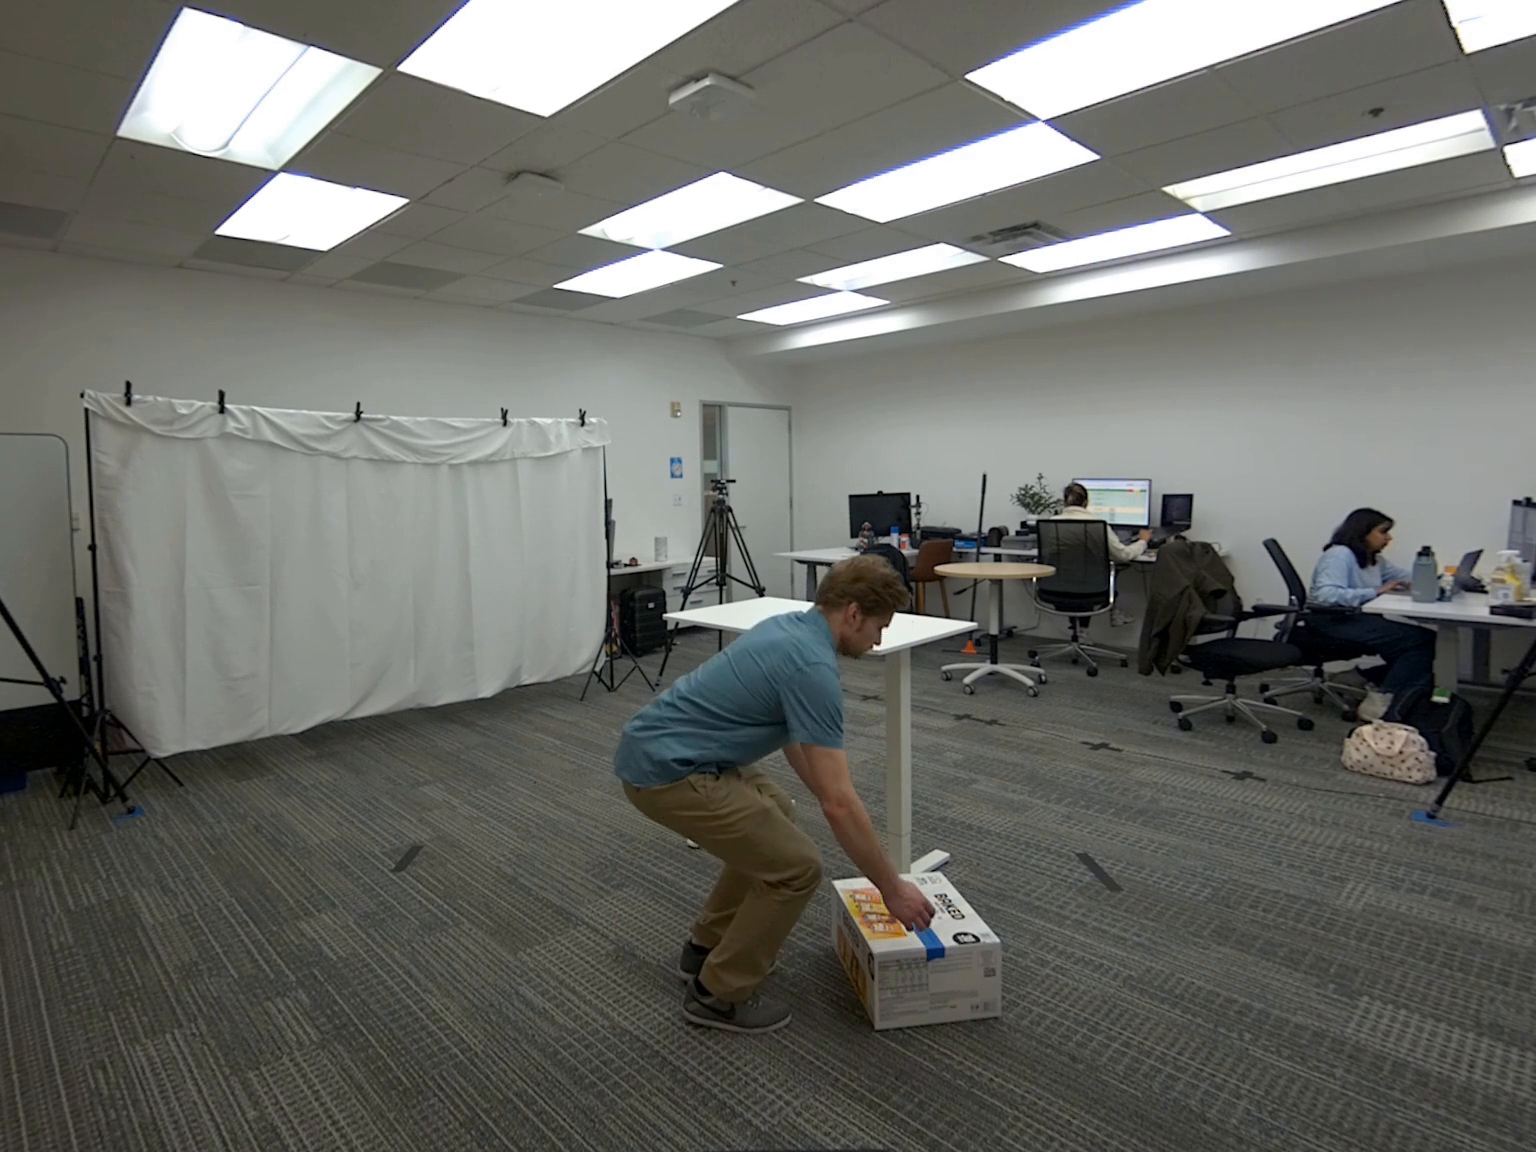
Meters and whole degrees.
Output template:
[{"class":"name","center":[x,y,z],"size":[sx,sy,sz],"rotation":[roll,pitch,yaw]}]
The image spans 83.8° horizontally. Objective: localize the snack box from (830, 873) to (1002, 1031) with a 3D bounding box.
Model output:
[{"class":"snack box","center":[0.400,1.023,2.367],"size":[0.337,0.205,0.410],"rotation":[-2,6,-10]}]
